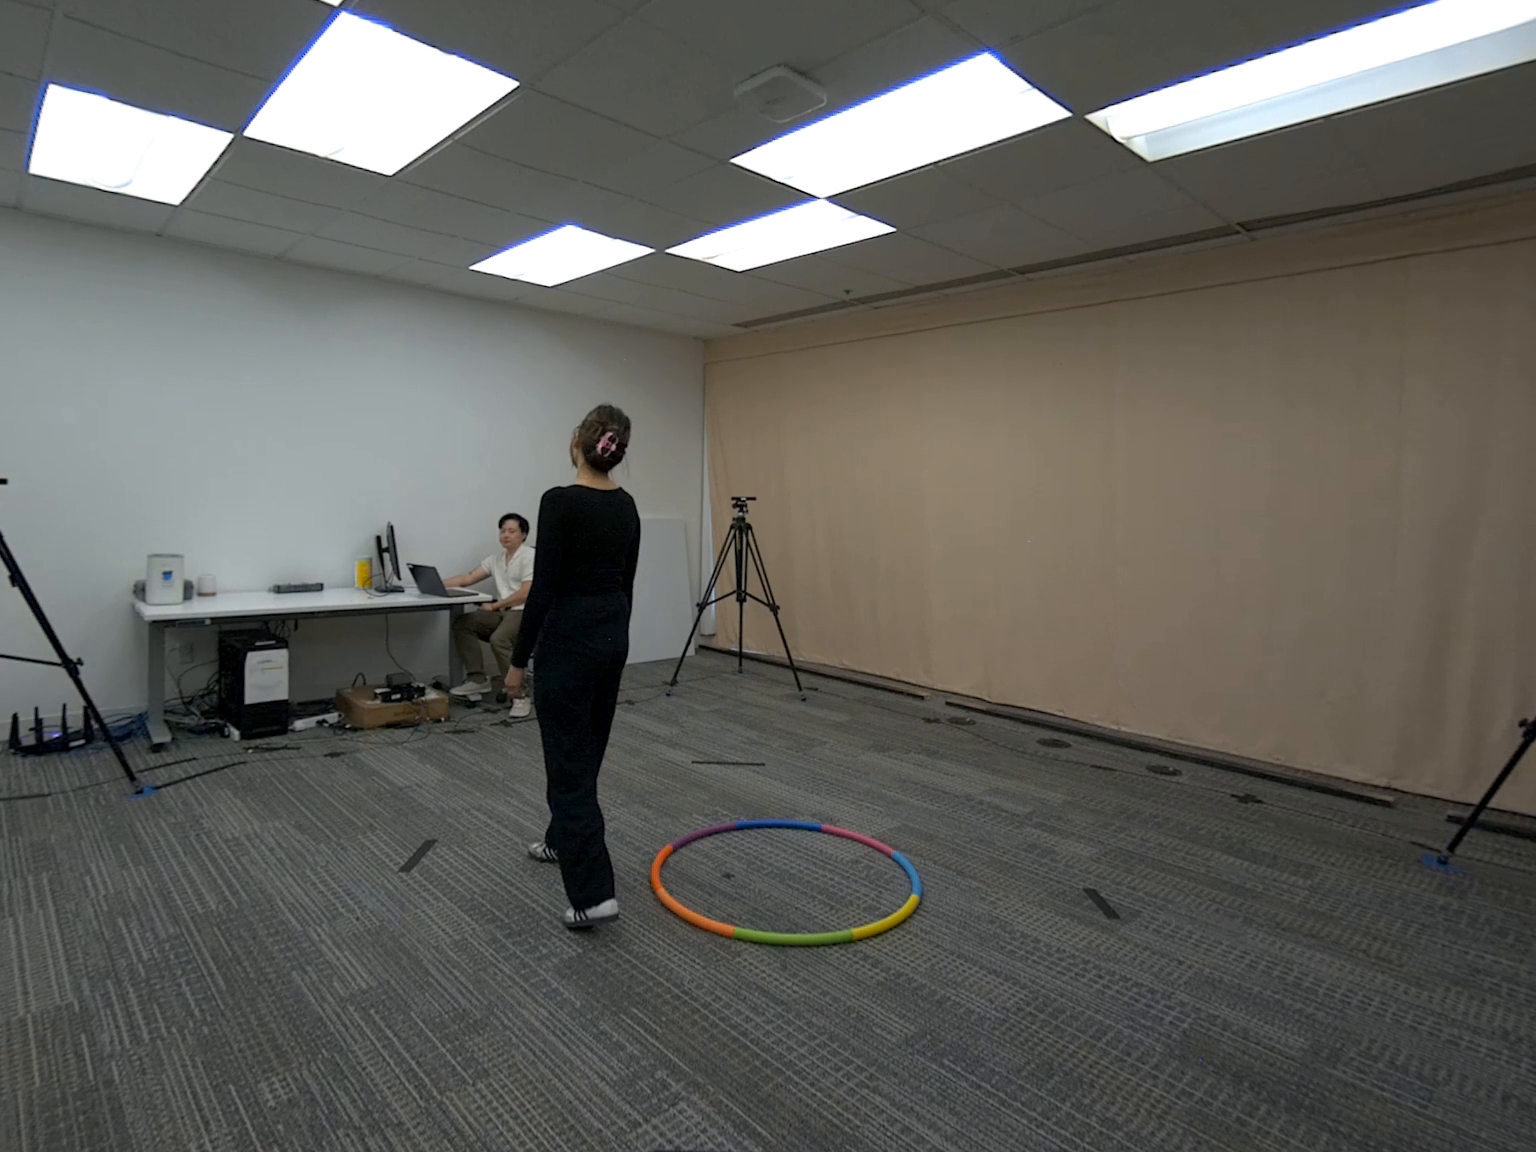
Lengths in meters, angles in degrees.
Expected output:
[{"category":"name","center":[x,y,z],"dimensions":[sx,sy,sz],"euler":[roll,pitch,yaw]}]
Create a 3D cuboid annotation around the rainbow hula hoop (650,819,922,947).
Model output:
[{"category":"rainbow hula hoop","center":[0.055,1.083,3.101],"dimensions":[0.978,0.035,0.982],"euler":[1,5,-1]}]
